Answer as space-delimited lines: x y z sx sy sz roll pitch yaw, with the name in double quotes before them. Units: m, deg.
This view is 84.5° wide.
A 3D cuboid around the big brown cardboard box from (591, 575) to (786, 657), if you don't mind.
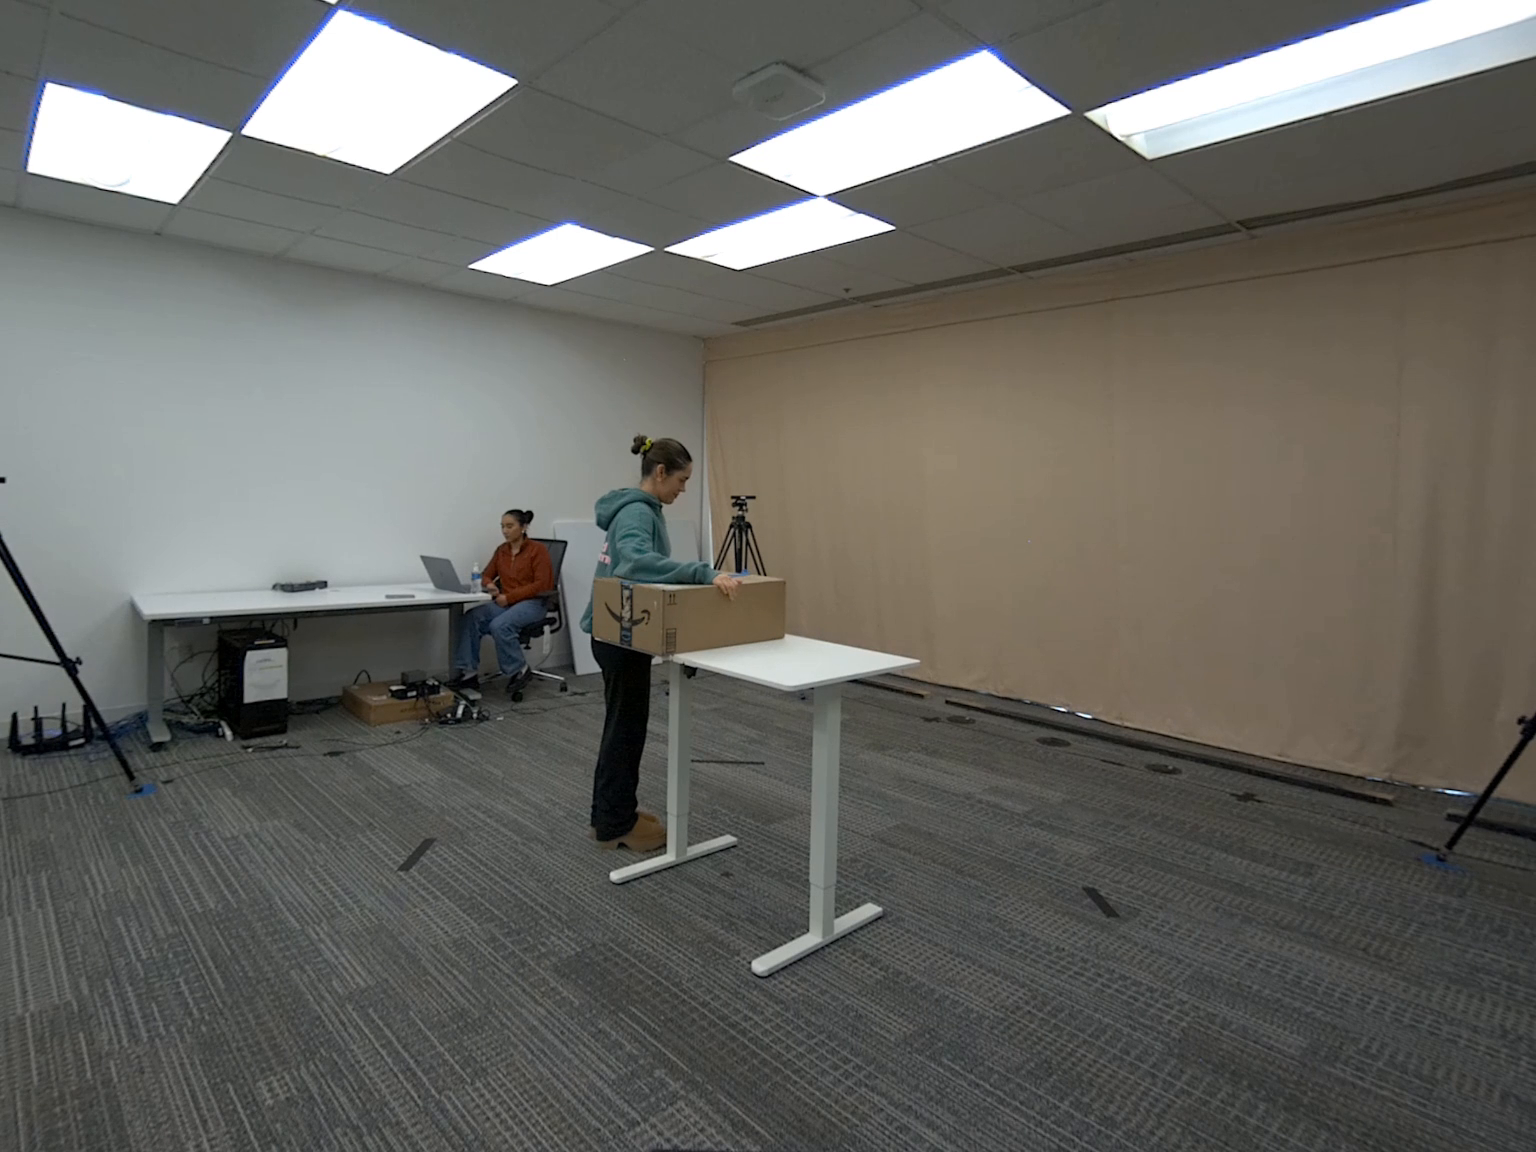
"big brown cardboard box" -0.289 0.120 3.022 0.575 0.232 0.428 -3 6 -43
